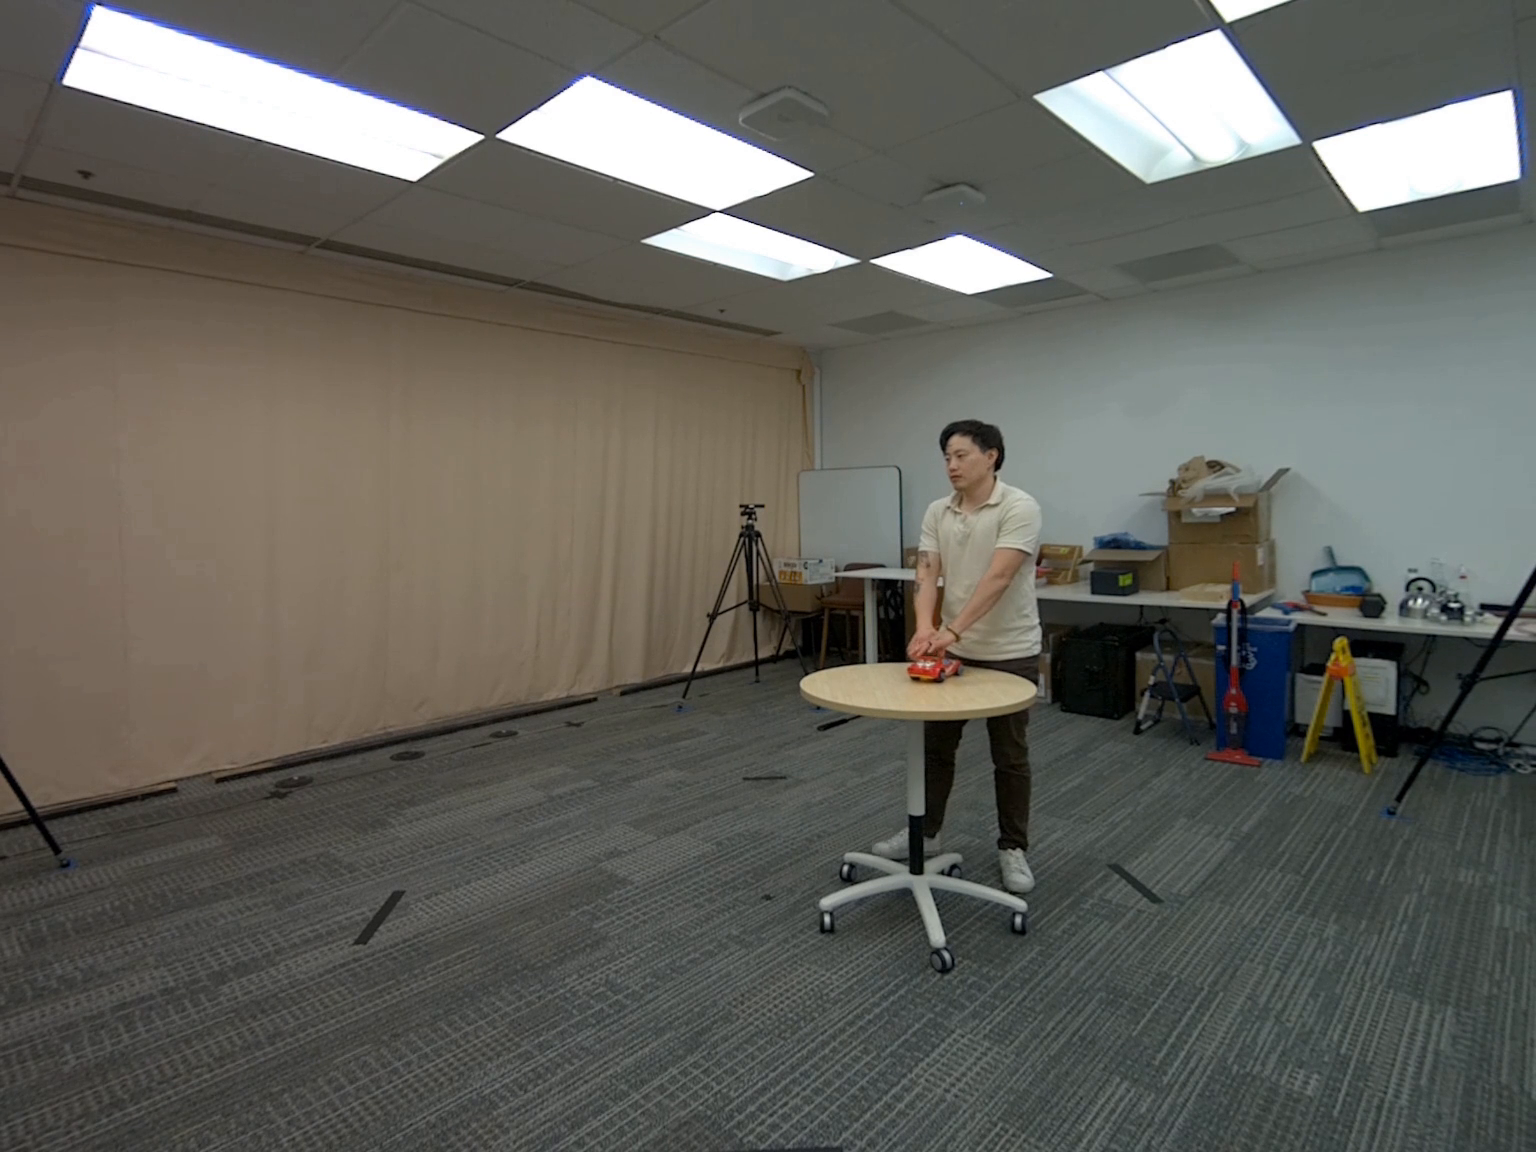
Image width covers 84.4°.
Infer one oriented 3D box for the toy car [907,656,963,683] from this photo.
[{"bbox_3d":[0.575,0.324,2.889,0.134,0.083,0.246,3,-5,38],"label":"toy car"}]
